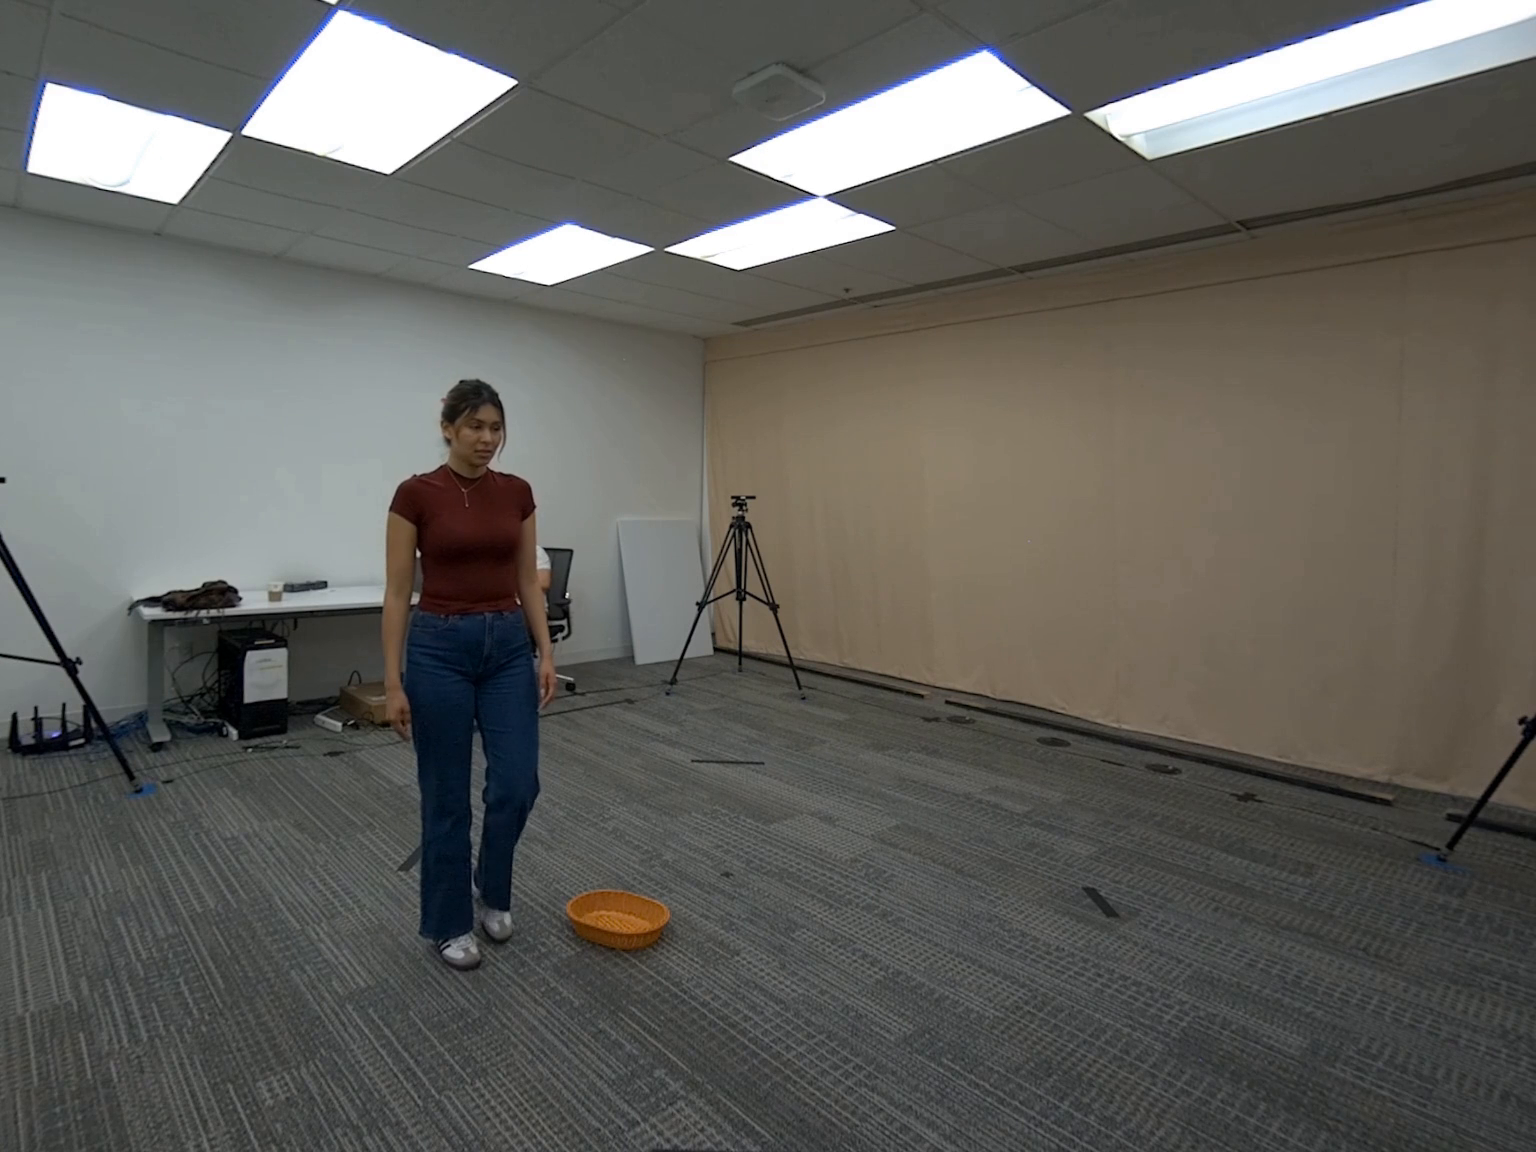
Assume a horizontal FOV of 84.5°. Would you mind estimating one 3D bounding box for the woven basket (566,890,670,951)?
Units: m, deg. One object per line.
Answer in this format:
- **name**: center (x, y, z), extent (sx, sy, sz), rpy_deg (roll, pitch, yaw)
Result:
- **woven basket**: center (-0.485, 1.095, 2.681), extent (0.357, 0.073, 0.248), rpy_deg (3, 3, 27)
